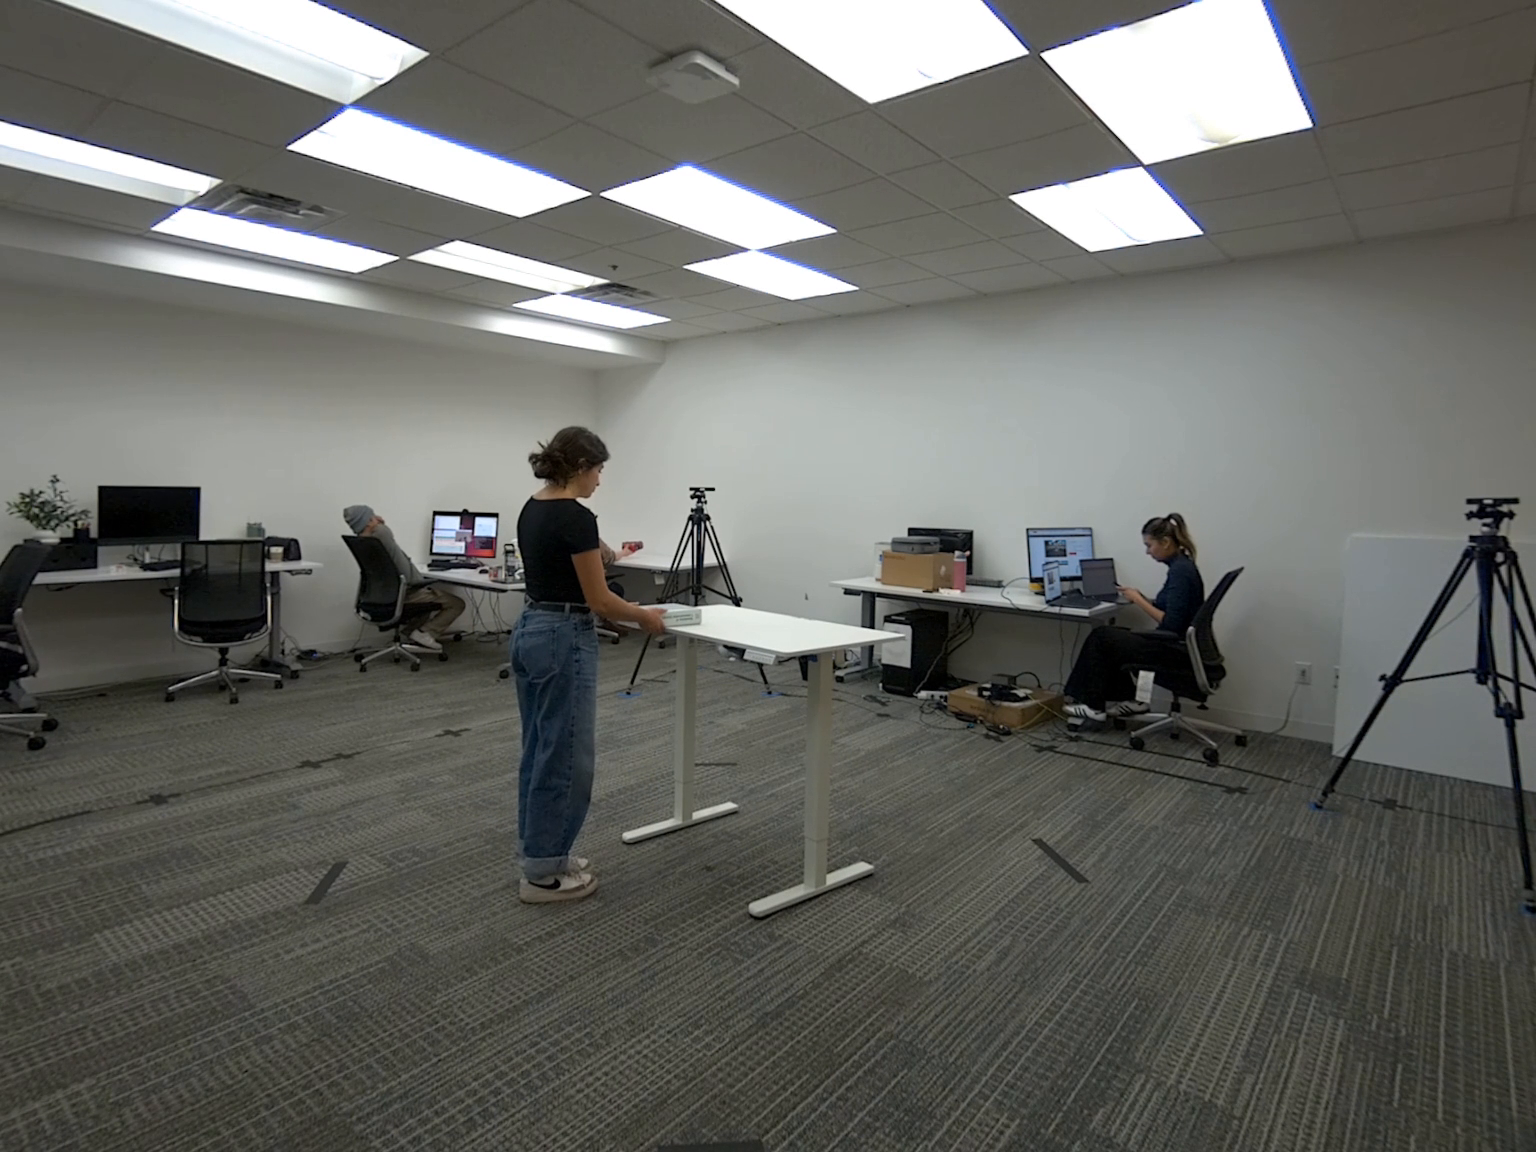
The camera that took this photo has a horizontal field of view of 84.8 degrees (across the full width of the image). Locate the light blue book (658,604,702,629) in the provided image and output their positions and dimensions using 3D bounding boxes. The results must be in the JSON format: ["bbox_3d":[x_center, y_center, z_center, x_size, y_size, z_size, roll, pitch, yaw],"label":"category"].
[{"bbox_3d":[-0.413,0.149,3.176,0.253,0.059,0.197,-4,5,-36],"label":"light blue book"}]
